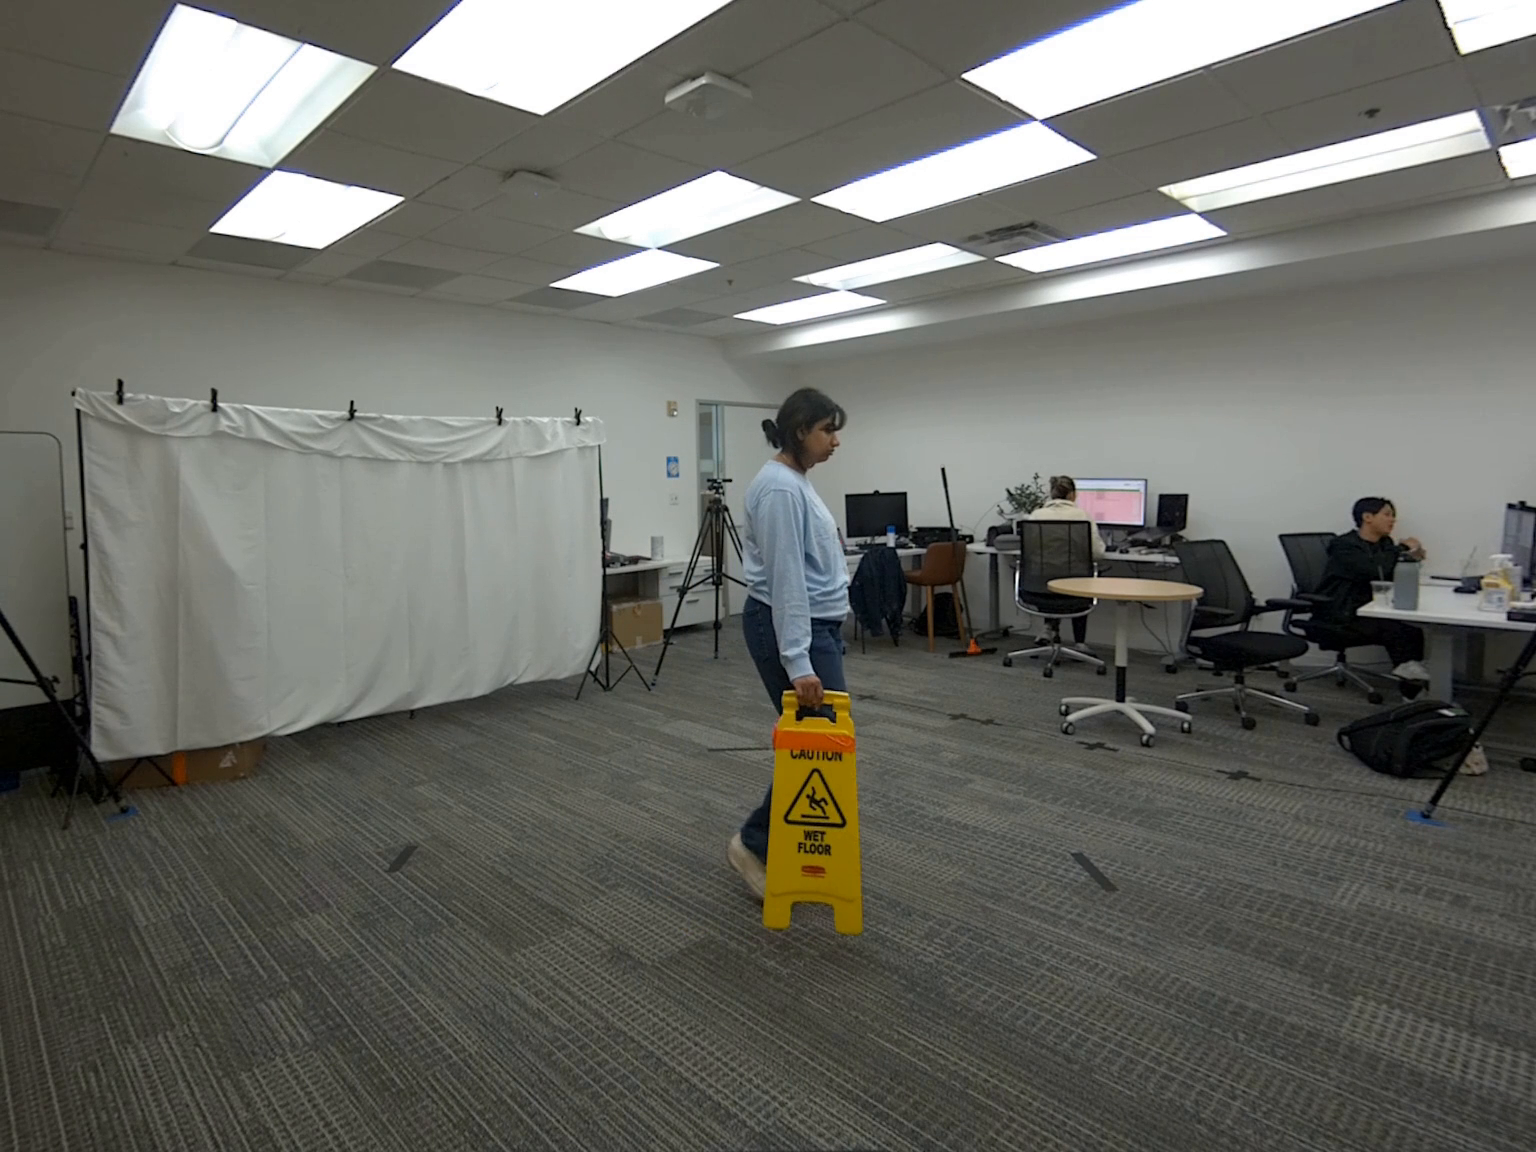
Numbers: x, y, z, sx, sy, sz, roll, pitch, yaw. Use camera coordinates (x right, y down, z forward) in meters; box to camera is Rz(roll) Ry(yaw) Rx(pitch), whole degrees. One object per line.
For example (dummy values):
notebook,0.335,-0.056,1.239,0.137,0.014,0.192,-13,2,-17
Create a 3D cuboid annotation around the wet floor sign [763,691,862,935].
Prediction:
wet floor sign,0.150,0.677,2.513,0.285,0.646,0.287,-2,0,8
